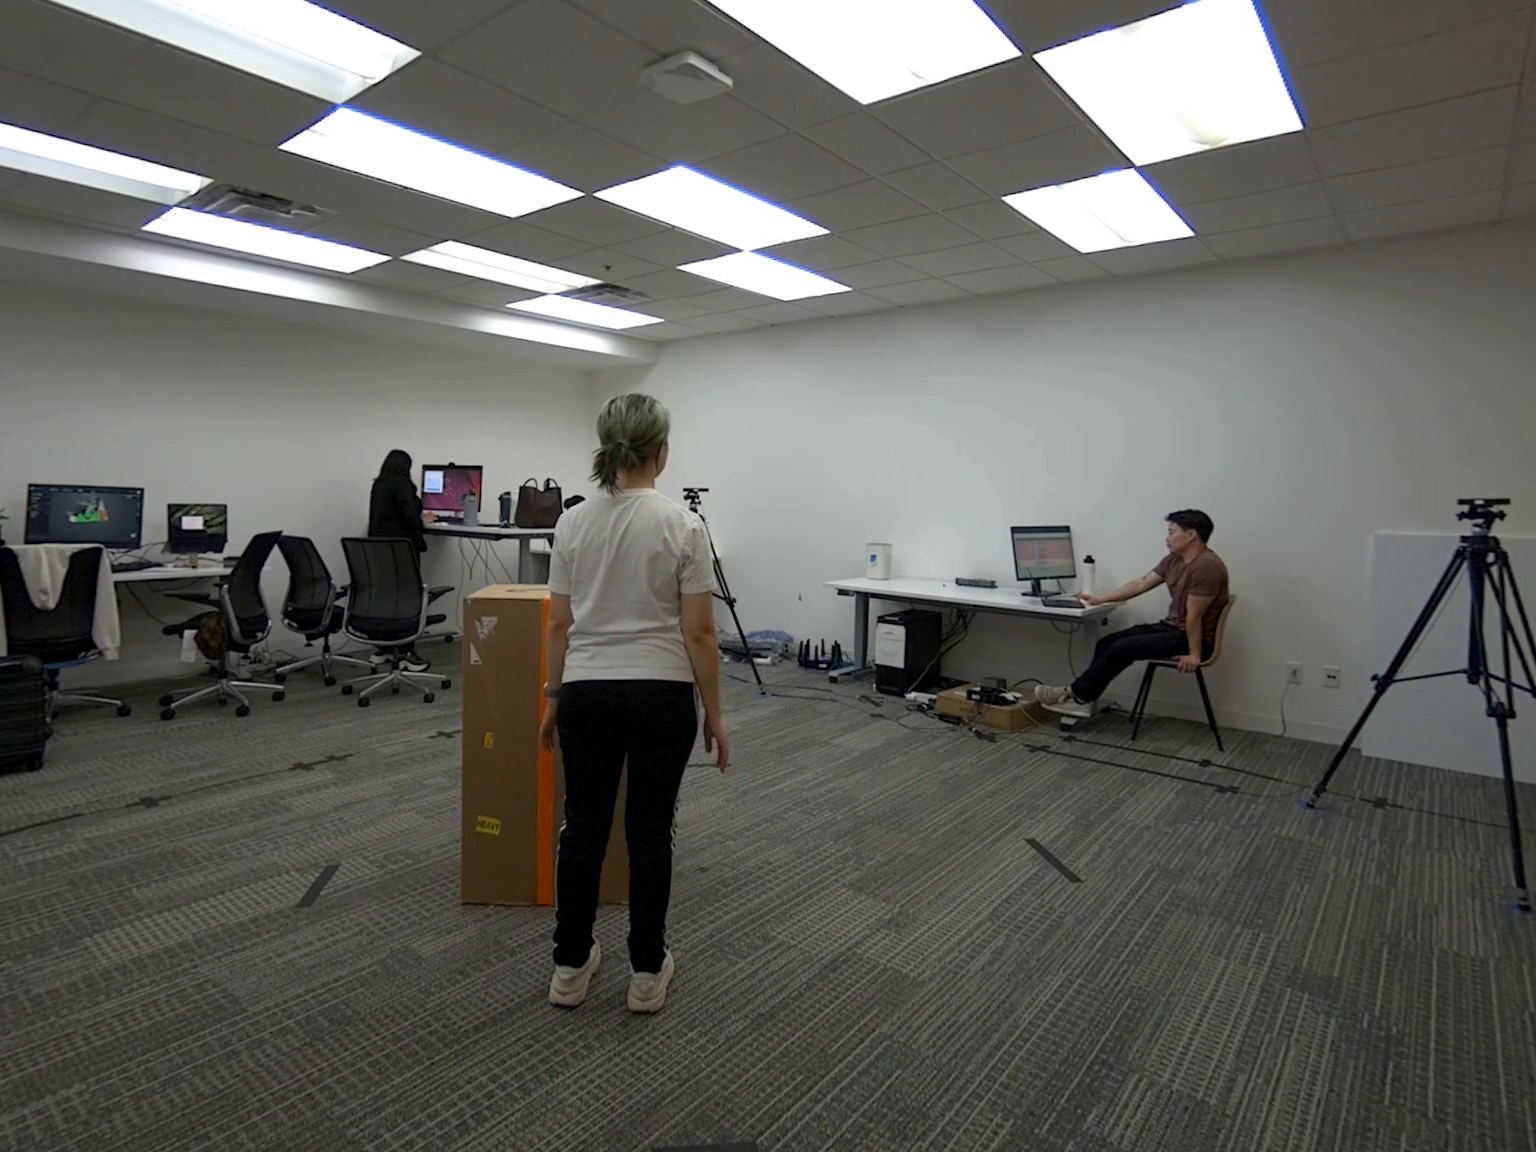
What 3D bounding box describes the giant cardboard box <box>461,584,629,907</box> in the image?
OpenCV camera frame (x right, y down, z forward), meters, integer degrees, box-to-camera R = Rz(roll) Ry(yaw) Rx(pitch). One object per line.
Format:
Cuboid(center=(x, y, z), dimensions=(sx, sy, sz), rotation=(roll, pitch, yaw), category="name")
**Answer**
Cuboid(center=(-0.756, 0.564, 3.002), dimensions=(0.576, 1.023, 0.428), rotation=(1, 3, -2), category="giant cardboard box")
